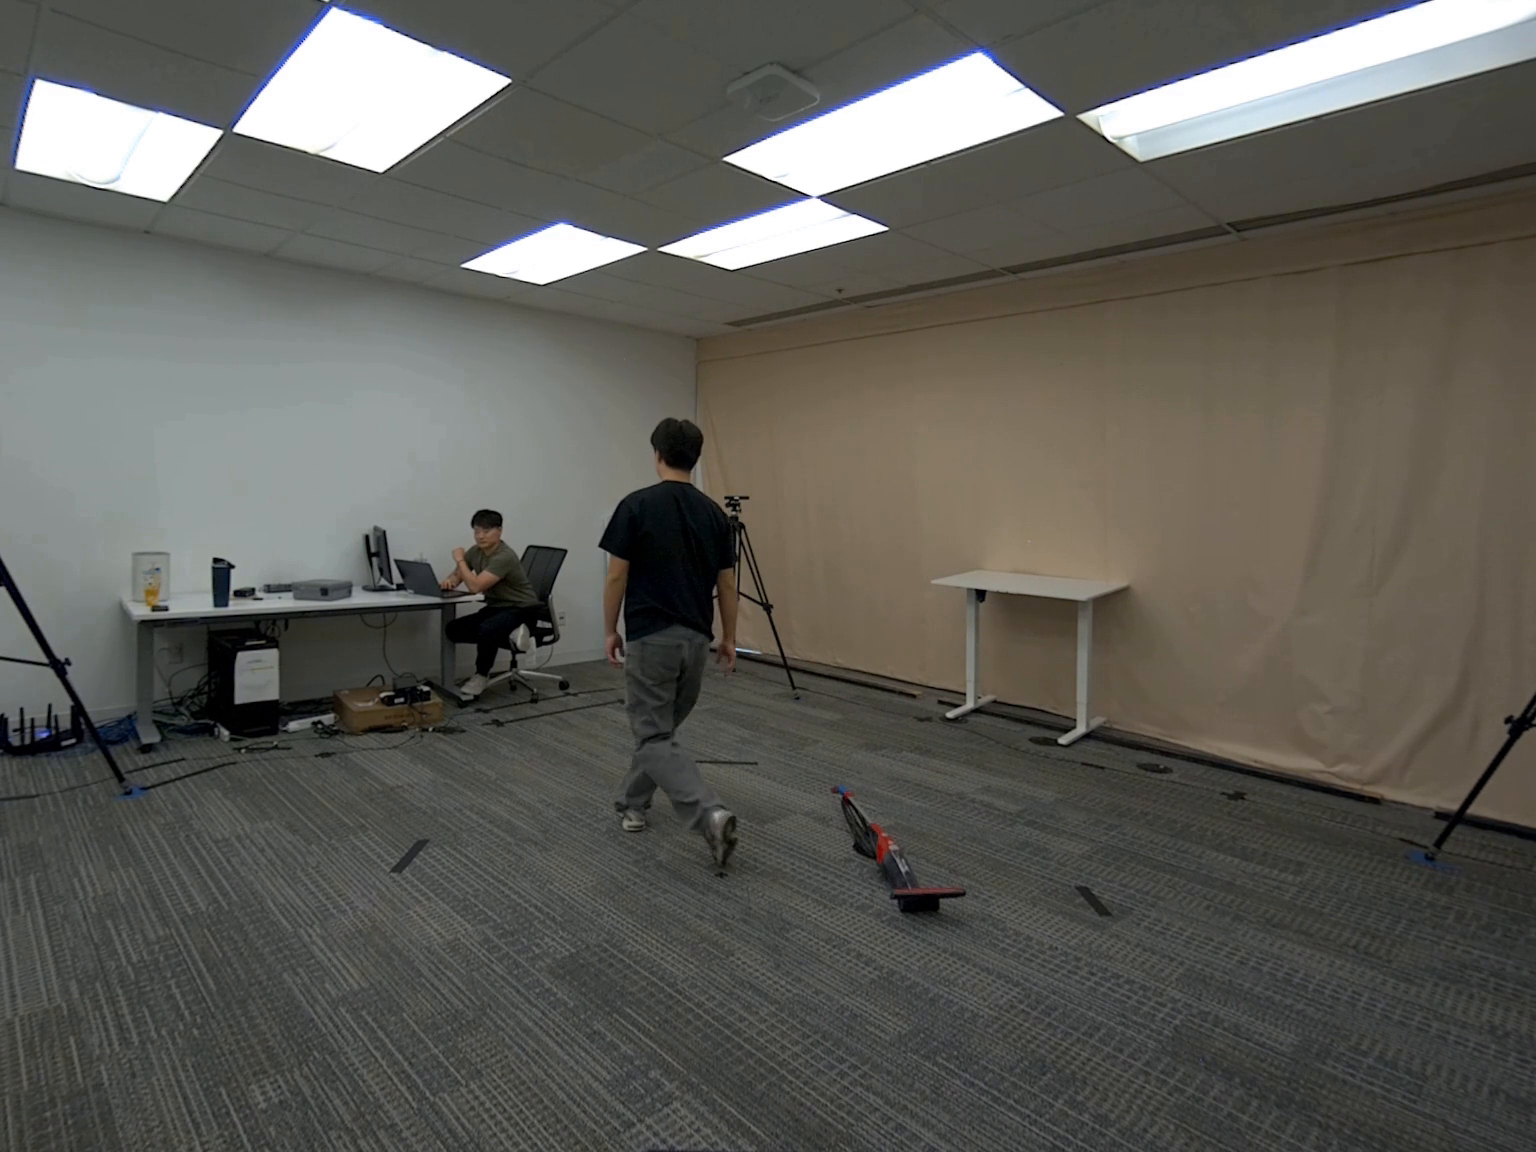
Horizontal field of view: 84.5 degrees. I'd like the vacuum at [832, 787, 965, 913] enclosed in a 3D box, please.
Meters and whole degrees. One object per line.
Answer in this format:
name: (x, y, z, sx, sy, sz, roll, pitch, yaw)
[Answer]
vacuum: (0.401, 1.034, 3.346, 0.250, 0.143, 1.061, 2, 4, -11)
